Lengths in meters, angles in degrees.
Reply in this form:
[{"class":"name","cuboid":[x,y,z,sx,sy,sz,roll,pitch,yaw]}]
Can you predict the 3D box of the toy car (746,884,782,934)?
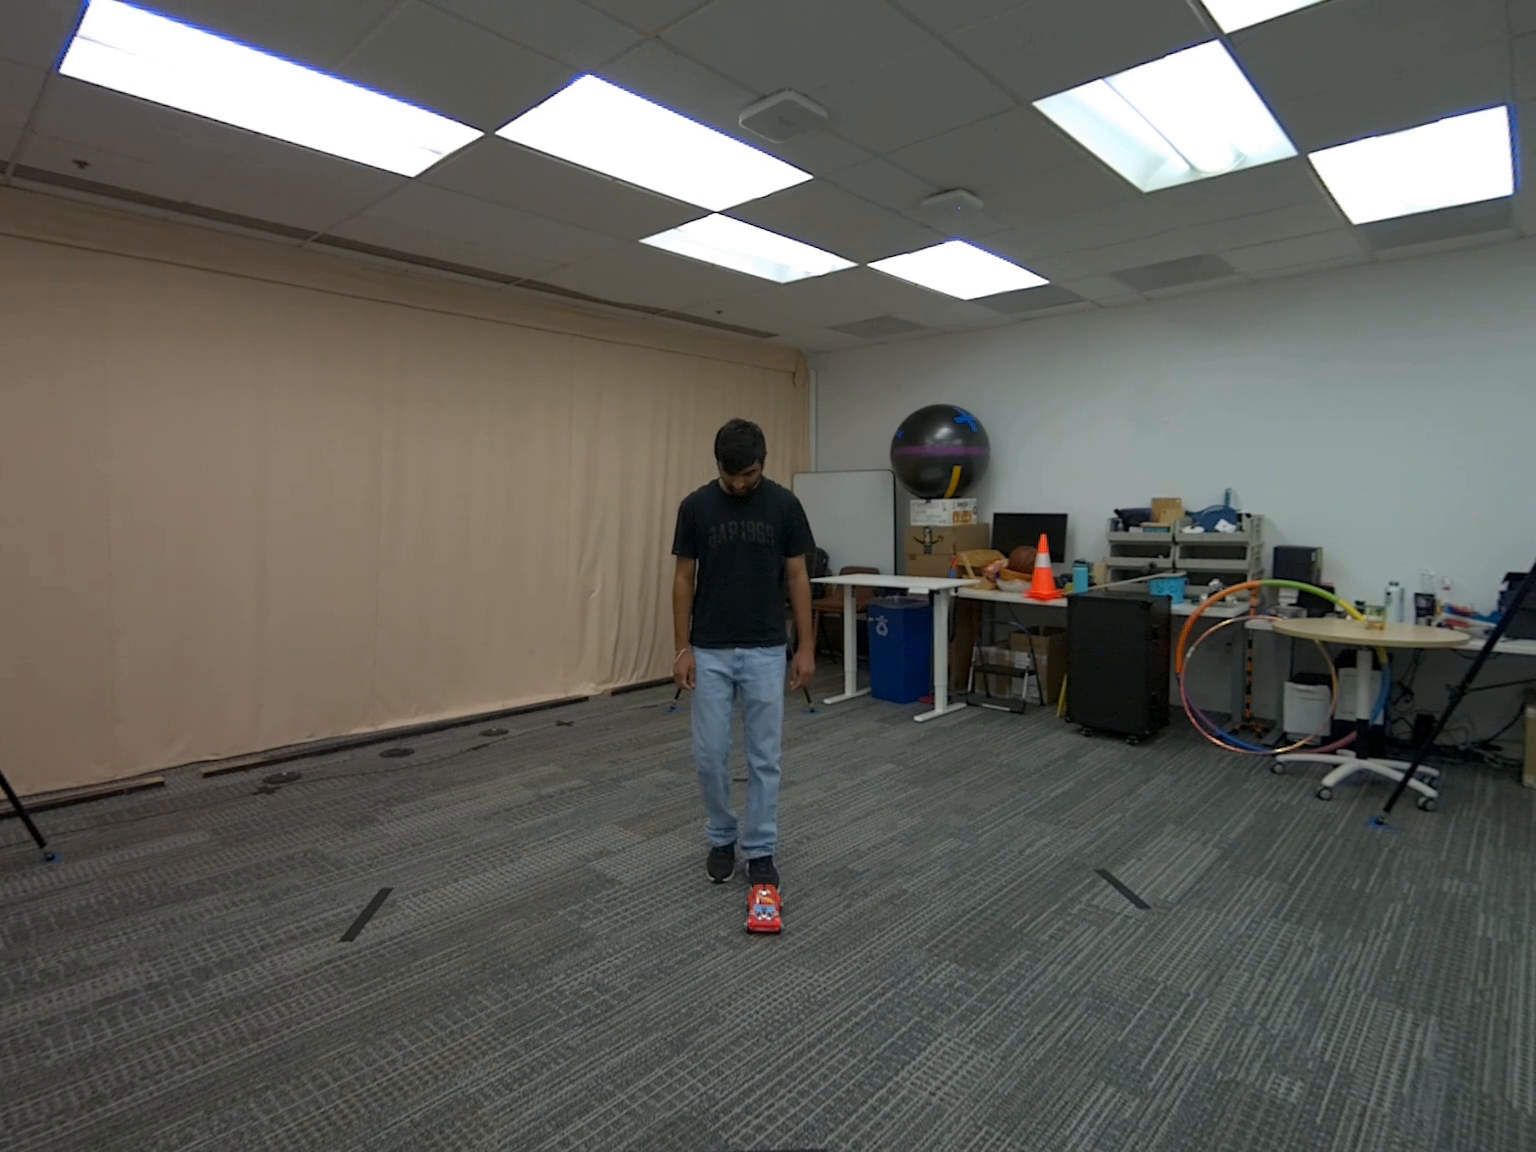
[{"class":"toy car","cuboid":[-0.013,1.118,2.844,0.130,0.082,0.256,0,17,1]}]
